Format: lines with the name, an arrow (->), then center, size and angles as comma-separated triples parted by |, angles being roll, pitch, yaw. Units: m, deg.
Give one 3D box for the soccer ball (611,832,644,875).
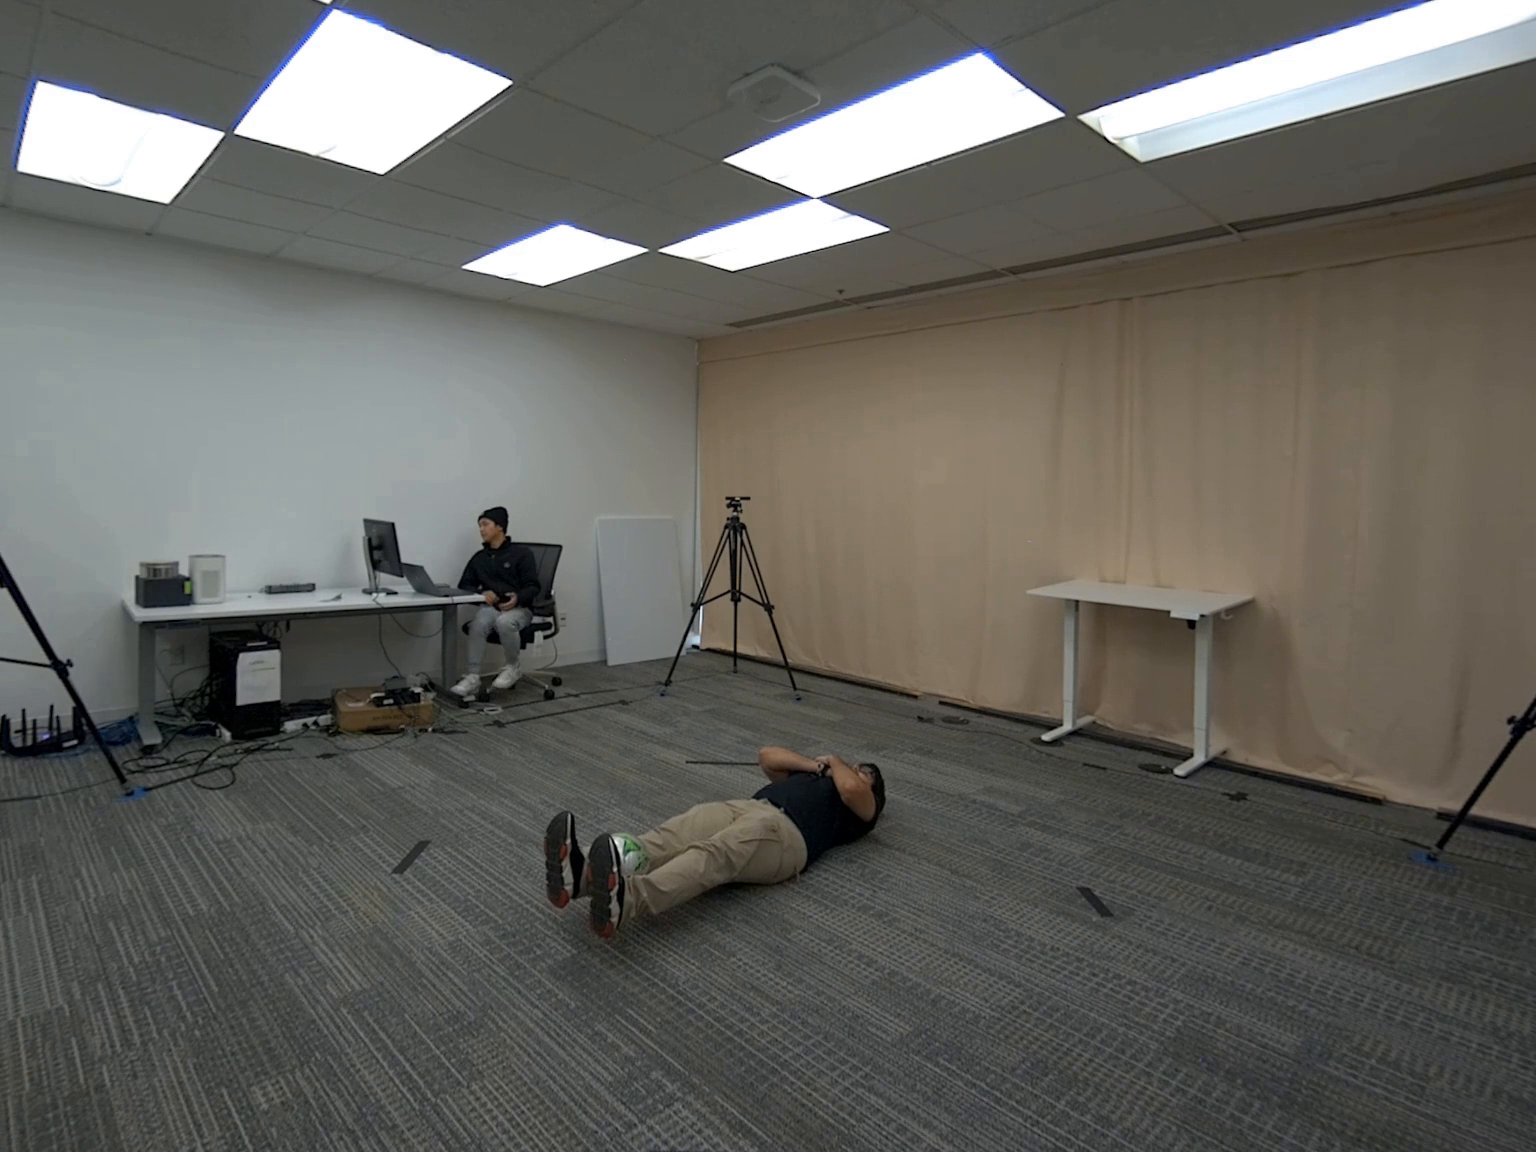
soccer ball -> -0.486, 0.926, 2.695 | 0.187, 0.187, 0.188 | 1, 5, -1
